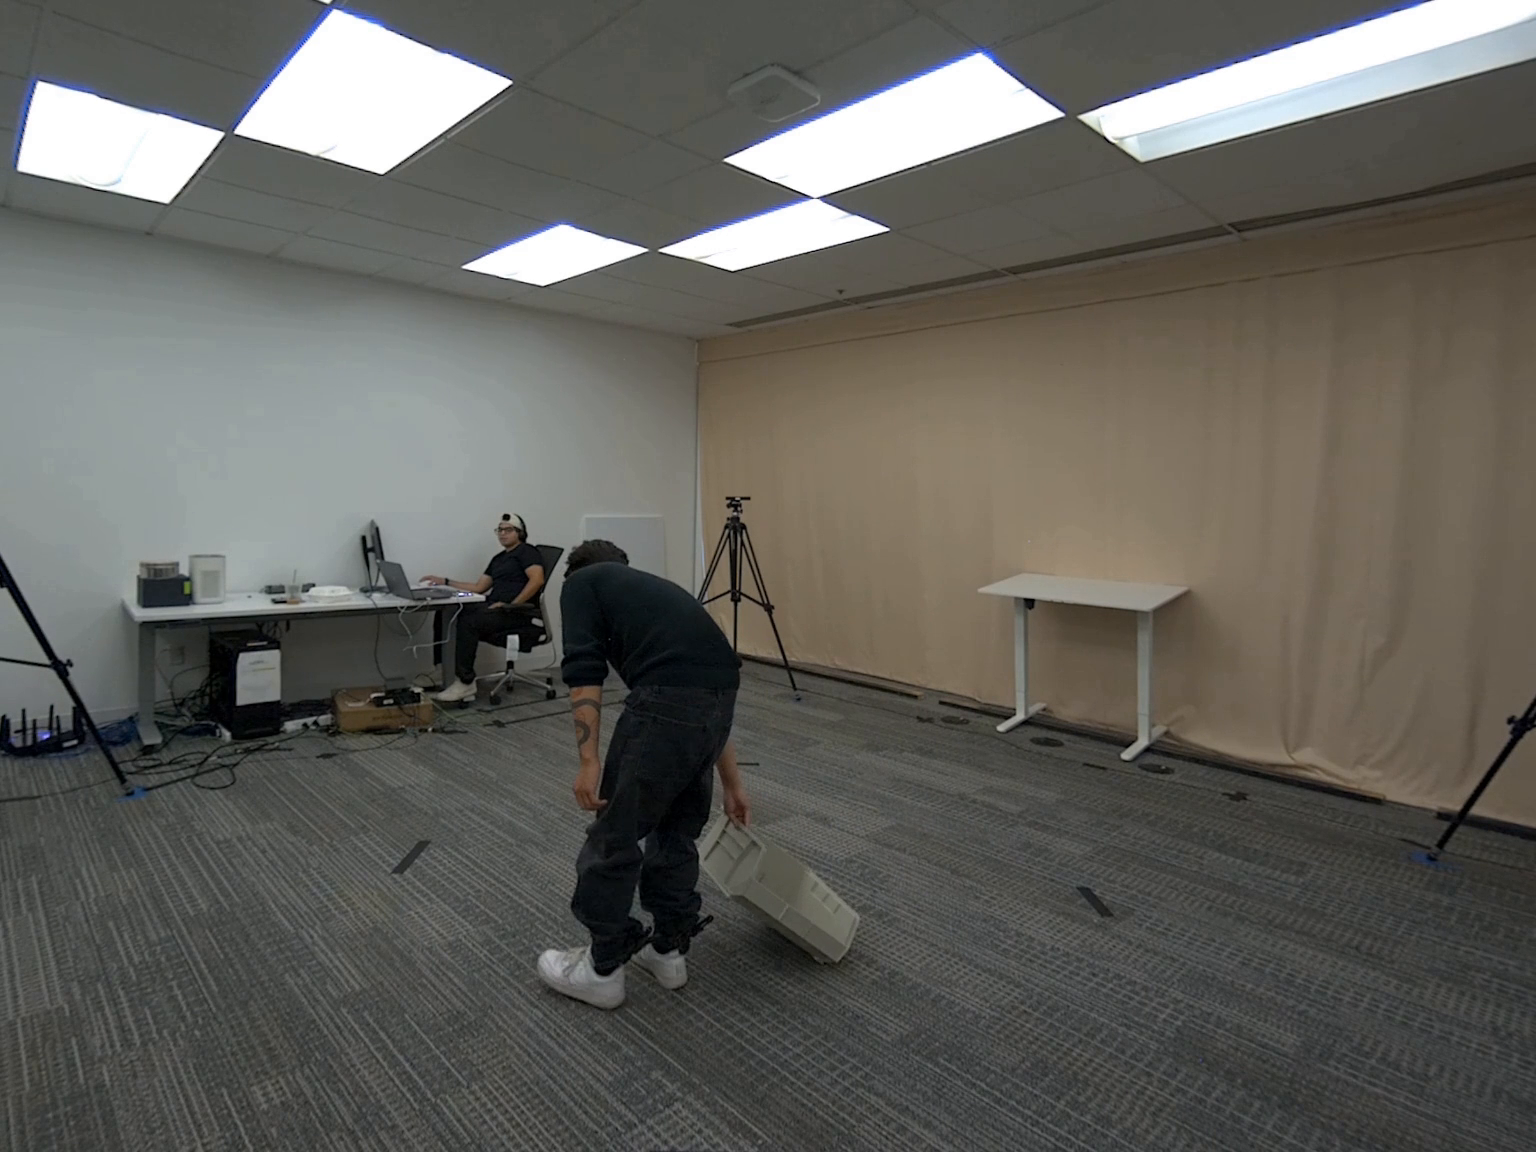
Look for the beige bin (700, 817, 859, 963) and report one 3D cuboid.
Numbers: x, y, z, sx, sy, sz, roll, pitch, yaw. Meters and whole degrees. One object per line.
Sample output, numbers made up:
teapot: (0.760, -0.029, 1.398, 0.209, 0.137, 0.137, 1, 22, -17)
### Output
beige bin: (0.016, 0.959, 2.598, 0.414, 0.189, 0.385, 41, -13, -20)
